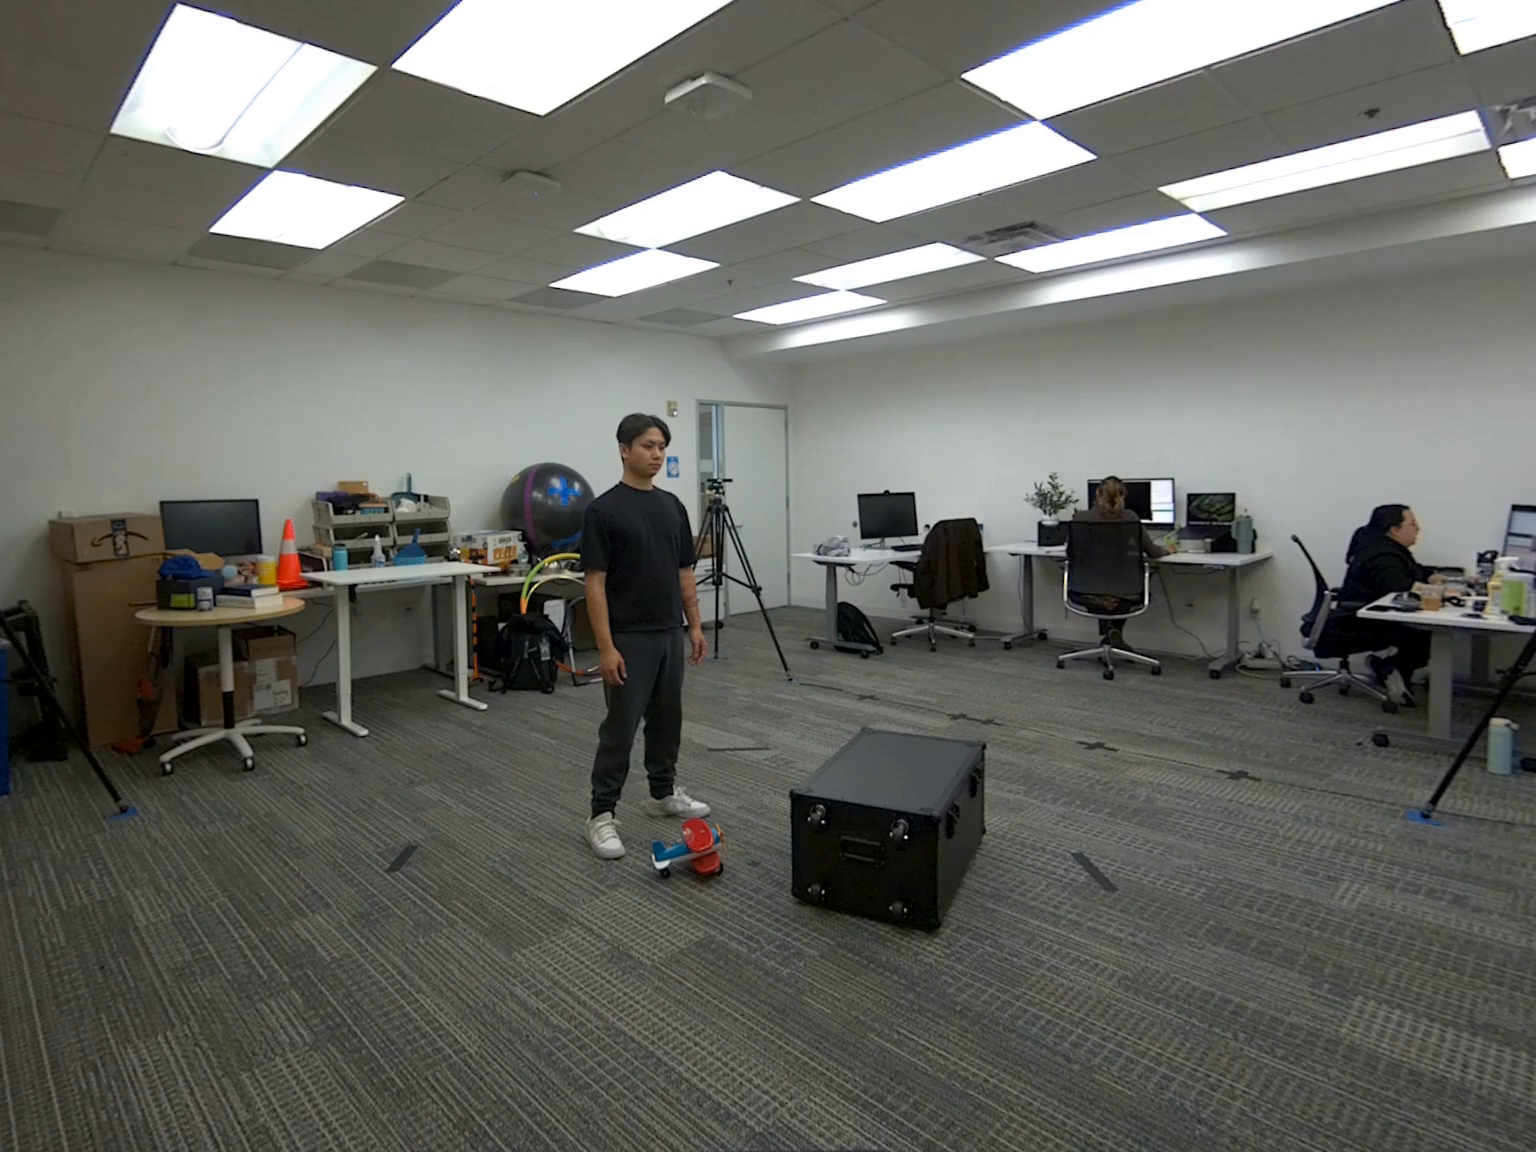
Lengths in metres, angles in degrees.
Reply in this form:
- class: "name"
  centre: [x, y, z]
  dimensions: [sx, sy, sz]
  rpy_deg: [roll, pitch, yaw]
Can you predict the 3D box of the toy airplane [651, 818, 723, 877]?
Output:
- class: "toy airplane"
  centre: [-0.263, 0.982, 3.018]
  dimensions: [0.252, 0.156, 0.259]
  rpy_deg: [-5, 7, -44]
